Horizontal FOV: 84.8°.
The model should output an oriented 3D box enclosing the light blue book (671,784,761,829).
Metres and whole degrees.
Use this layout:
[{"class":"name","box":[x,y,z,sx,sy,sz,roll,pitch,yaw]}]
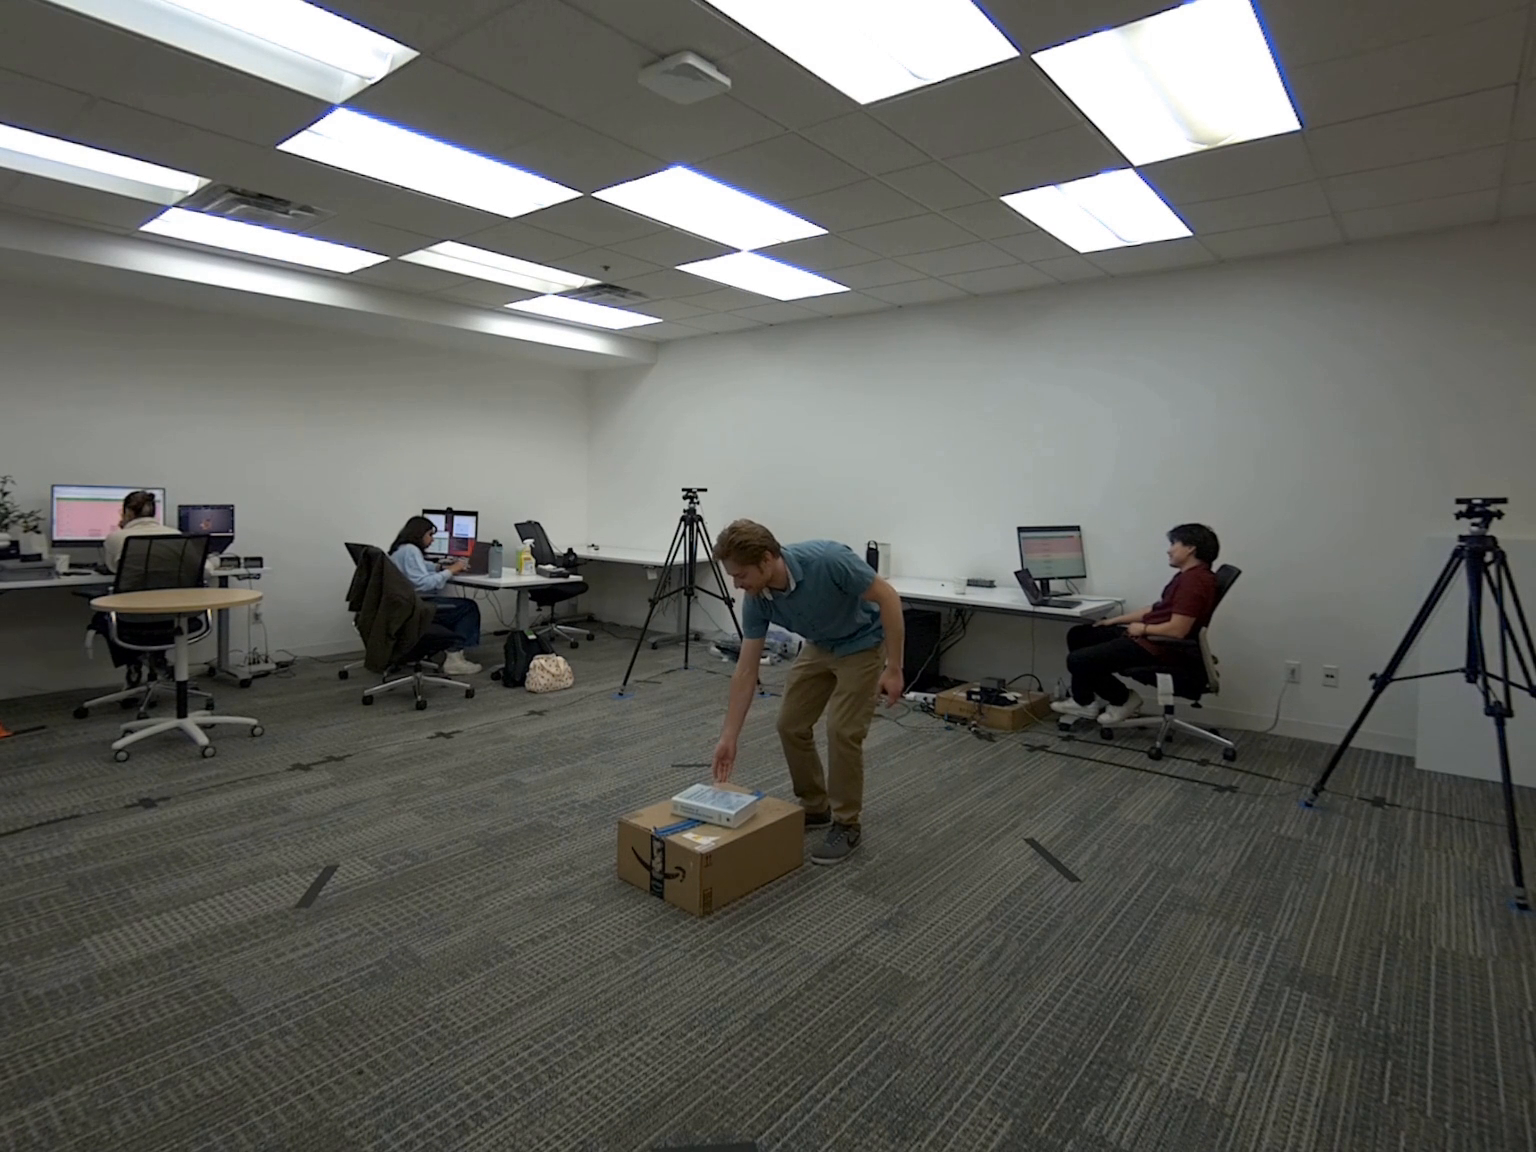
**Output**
[{"class":"light blue book","box":[-0.204,0.826,3.103,0.268,0.059,0.187,4,6,27]}]
